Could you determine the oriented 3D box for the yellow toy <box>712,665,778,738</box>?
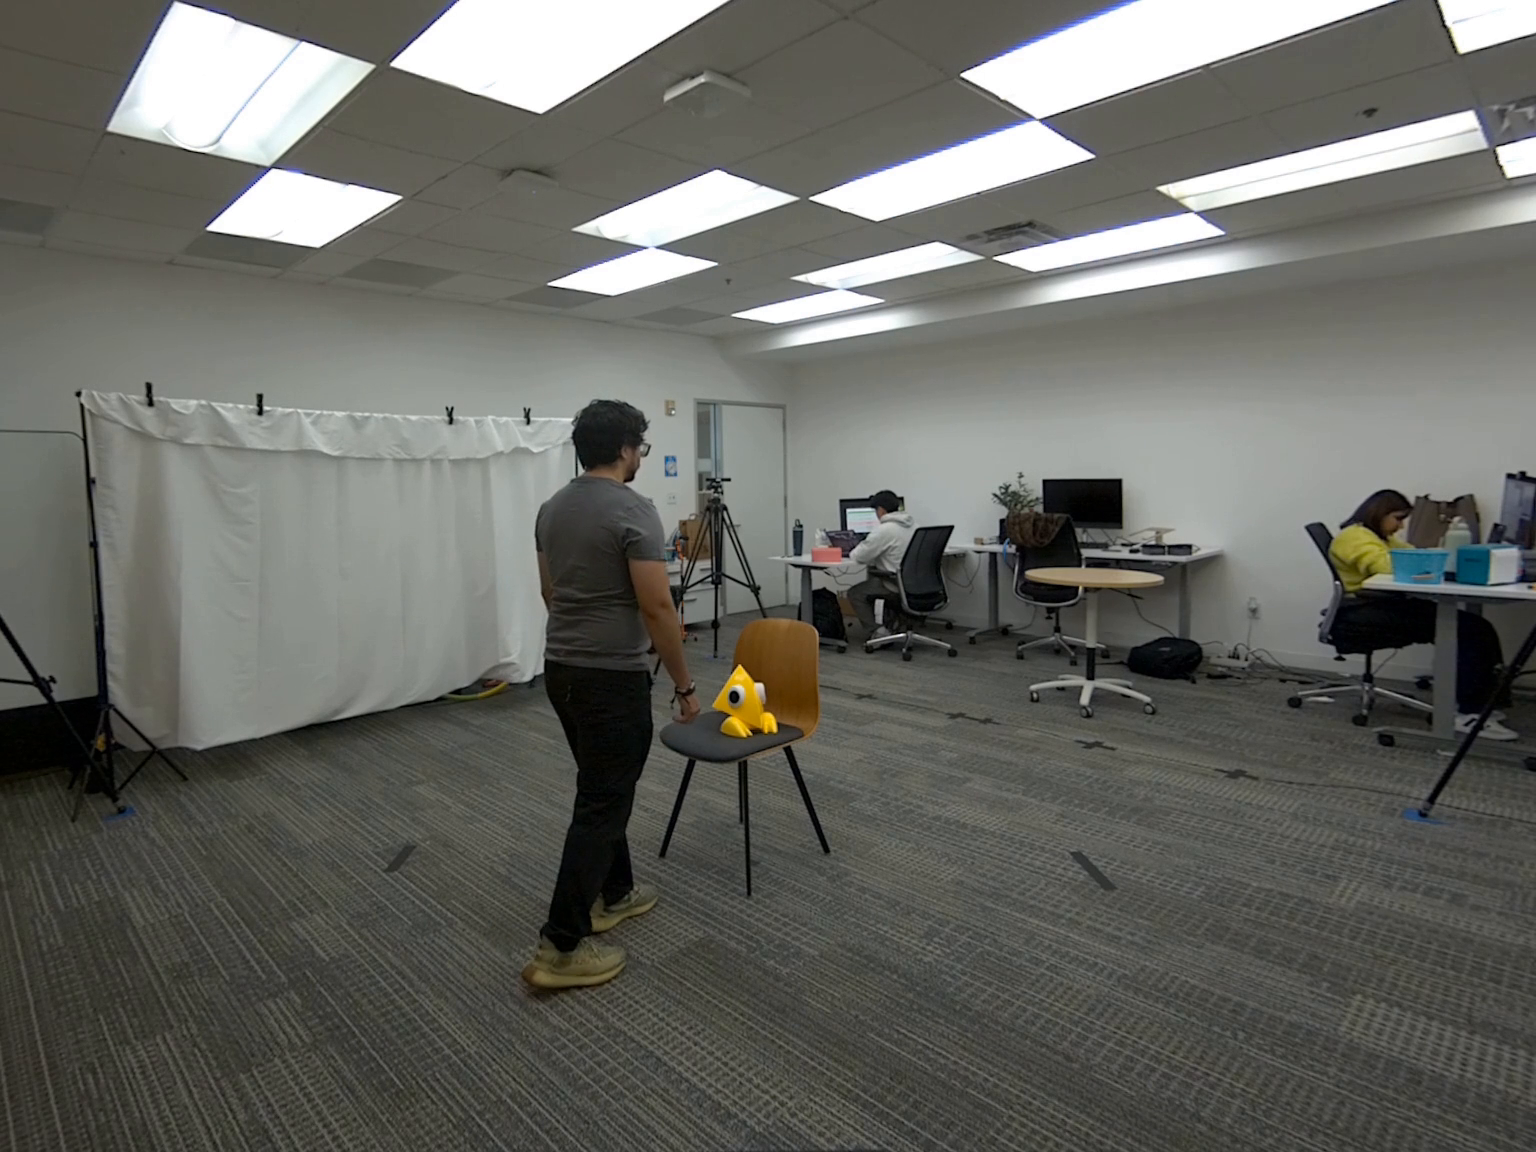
[{"bbox_3d":[-0.066,0.451,3.138,0.200,0.230,0.198,0,3,-30],"label":"yellow toy"}]
